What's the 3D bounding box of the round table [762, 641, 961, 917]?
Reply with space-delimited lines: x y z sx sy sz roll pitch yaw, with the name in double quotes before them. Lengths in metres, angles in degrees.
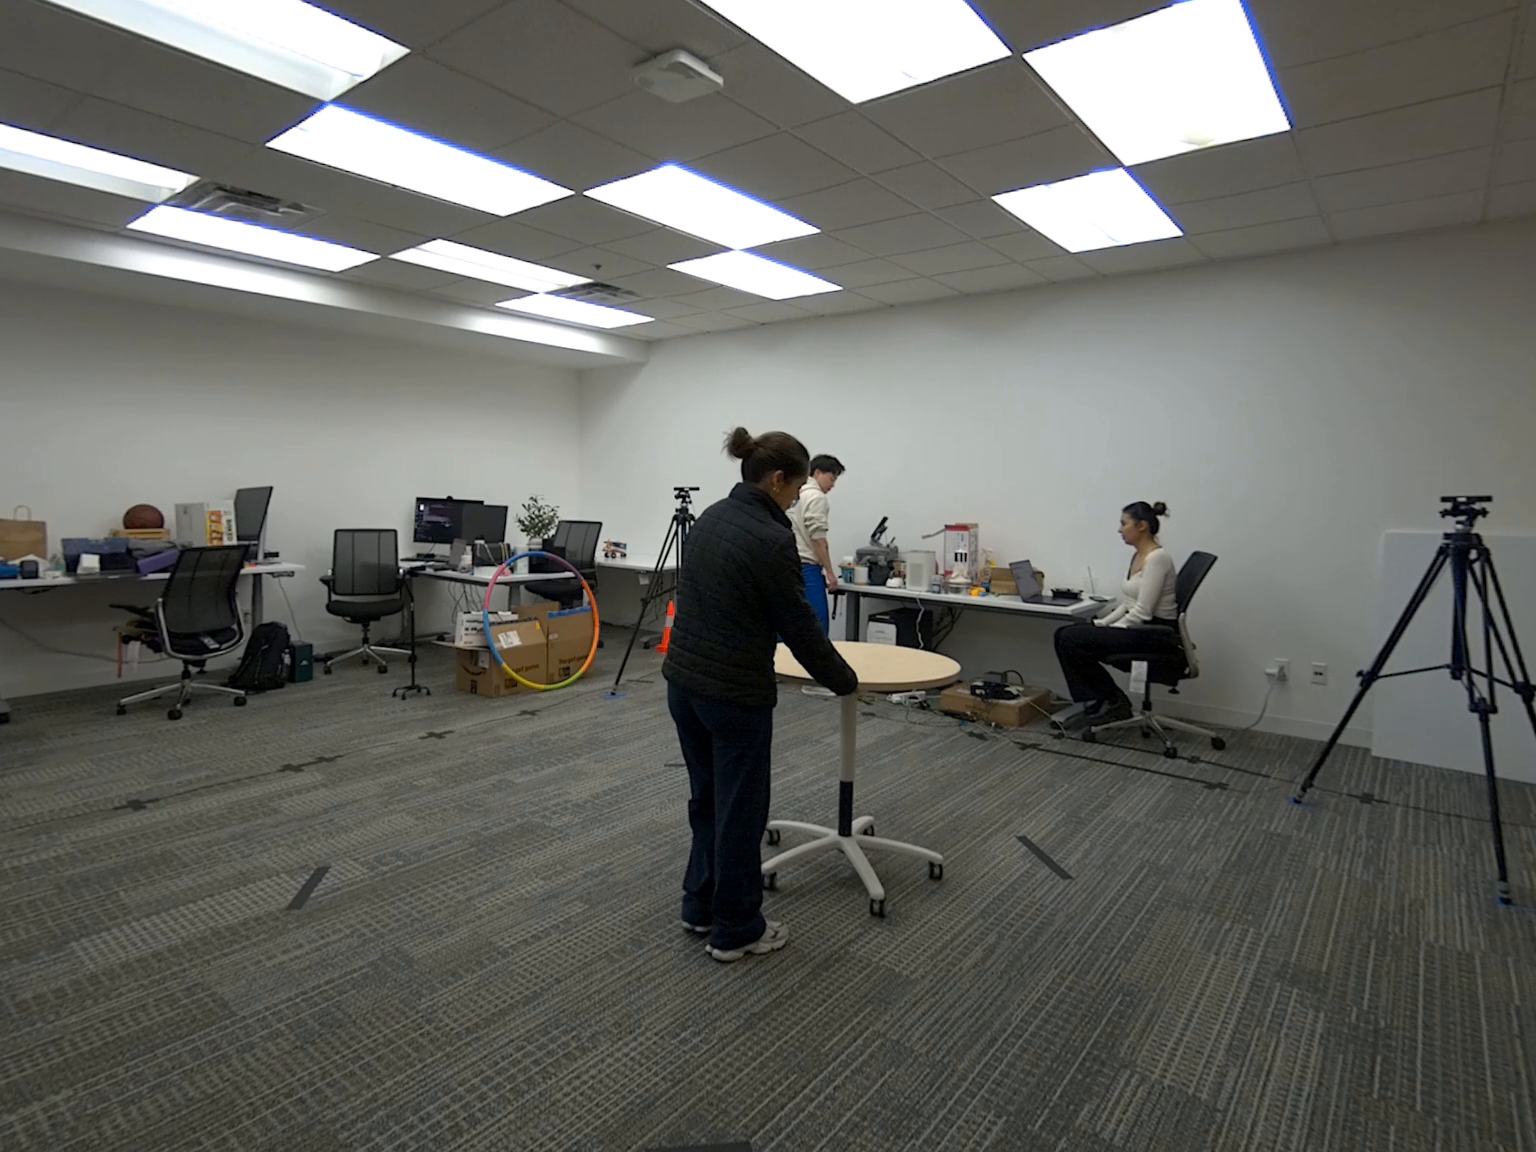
"round table" 0.286 0.685 3.095 0.784 0.784 0.789 2 4 -2
